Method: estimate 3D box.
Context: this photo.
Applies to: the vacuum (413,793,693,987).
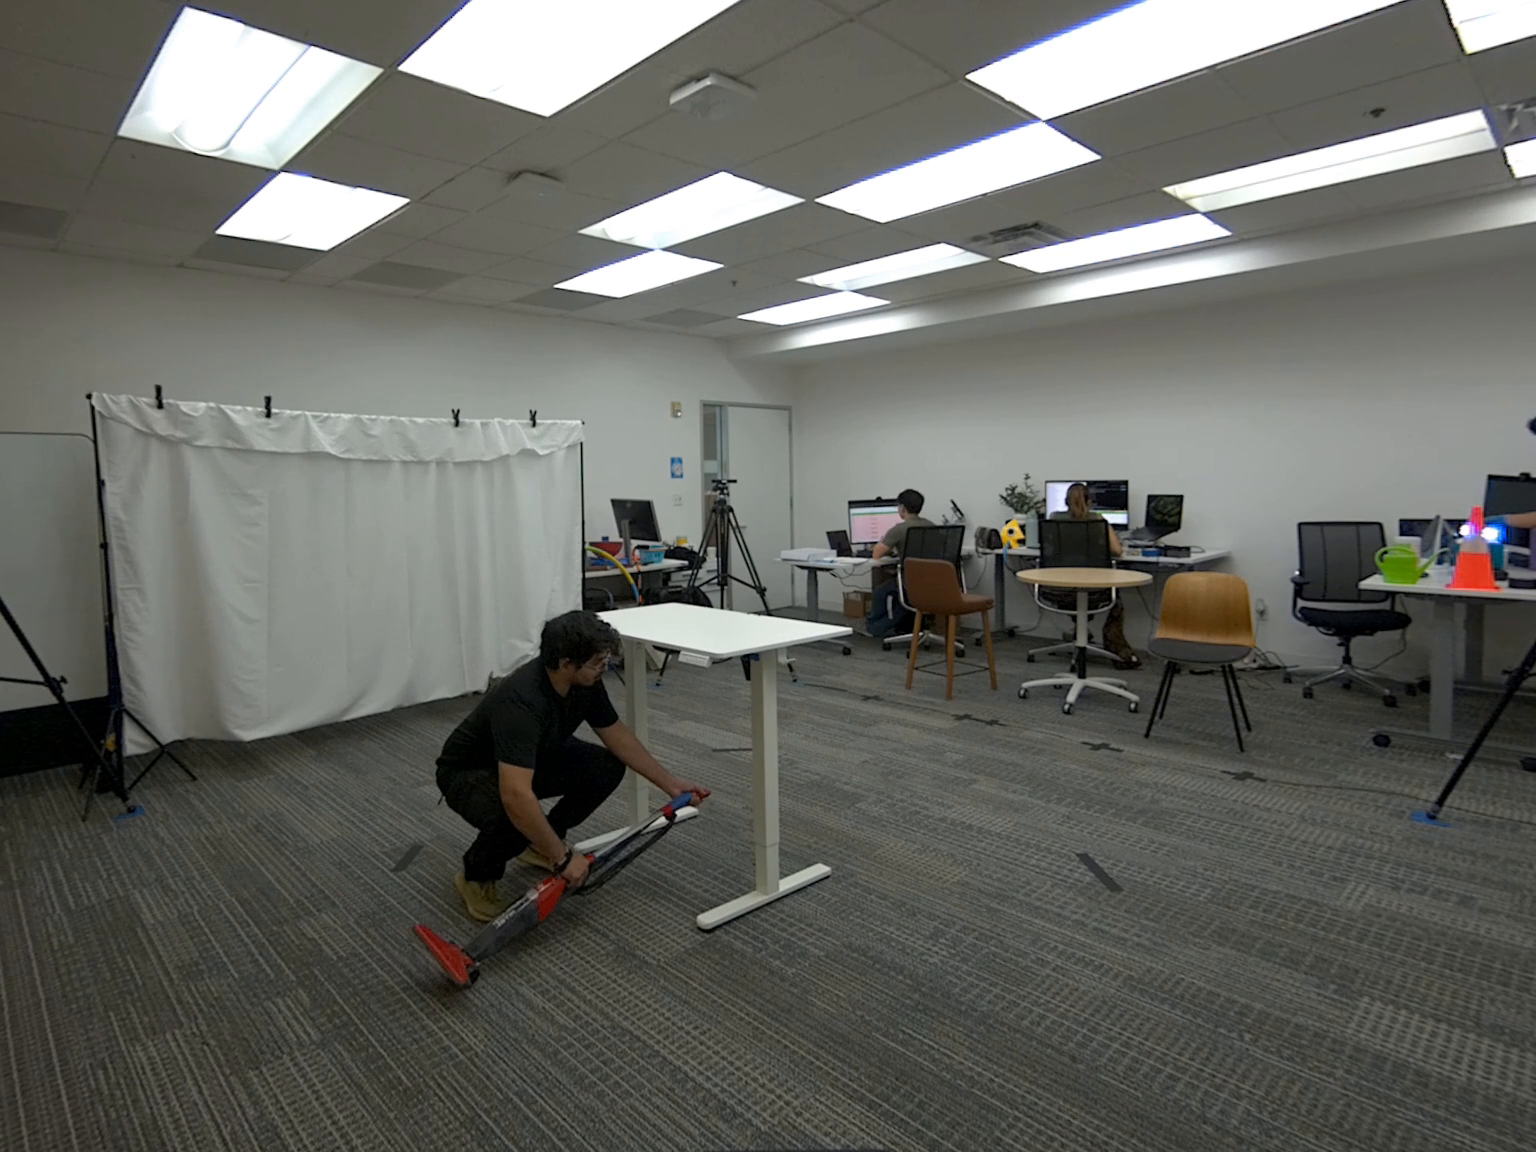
[{"bbox_3d":[-0.549,0.941,2.721,0.262,0.141,1.029,21,28,38],"label":"vacuum"}]
